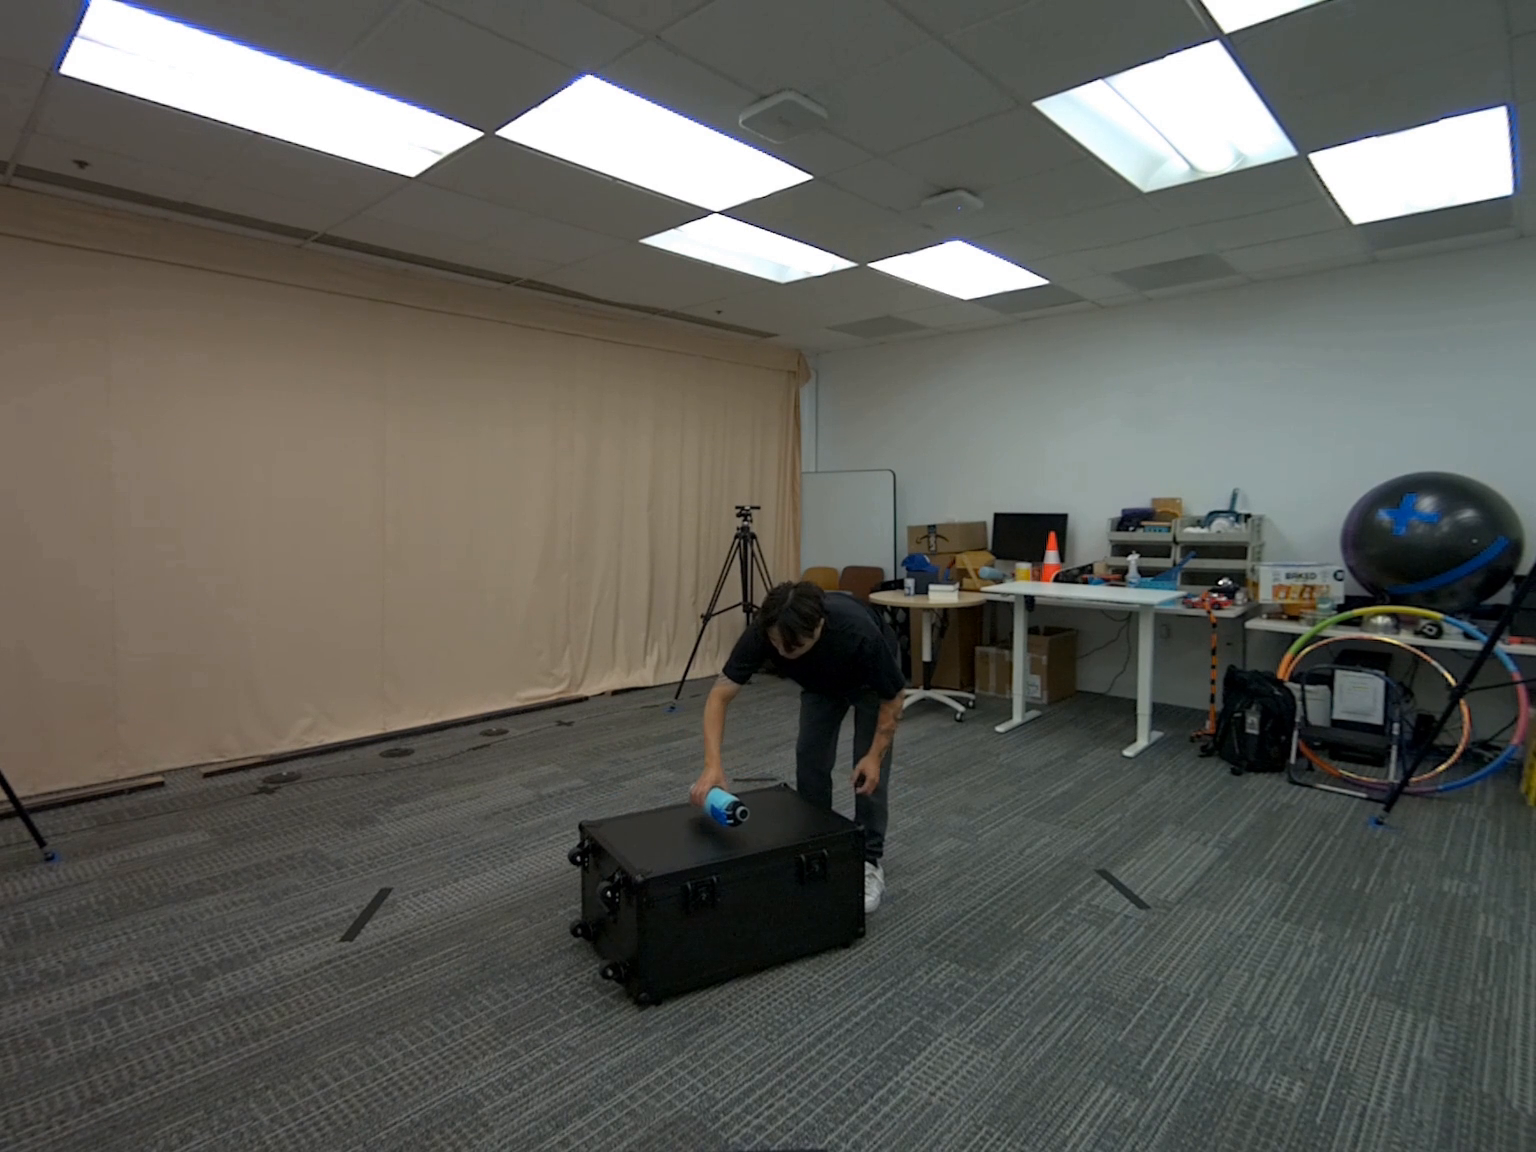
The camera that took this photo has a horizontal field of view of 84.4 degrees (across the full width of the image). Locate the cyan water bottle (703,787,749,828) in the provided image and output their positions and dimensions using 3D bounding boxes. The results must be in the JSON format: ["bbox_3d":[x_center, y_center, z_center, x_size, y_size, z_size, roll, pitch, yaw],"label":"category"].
[{"bbox_3d":[-0.158,0.723,2.647,0.090,0.092,0.290,-2,1,-27],"label":"cyan water bottle"}]
